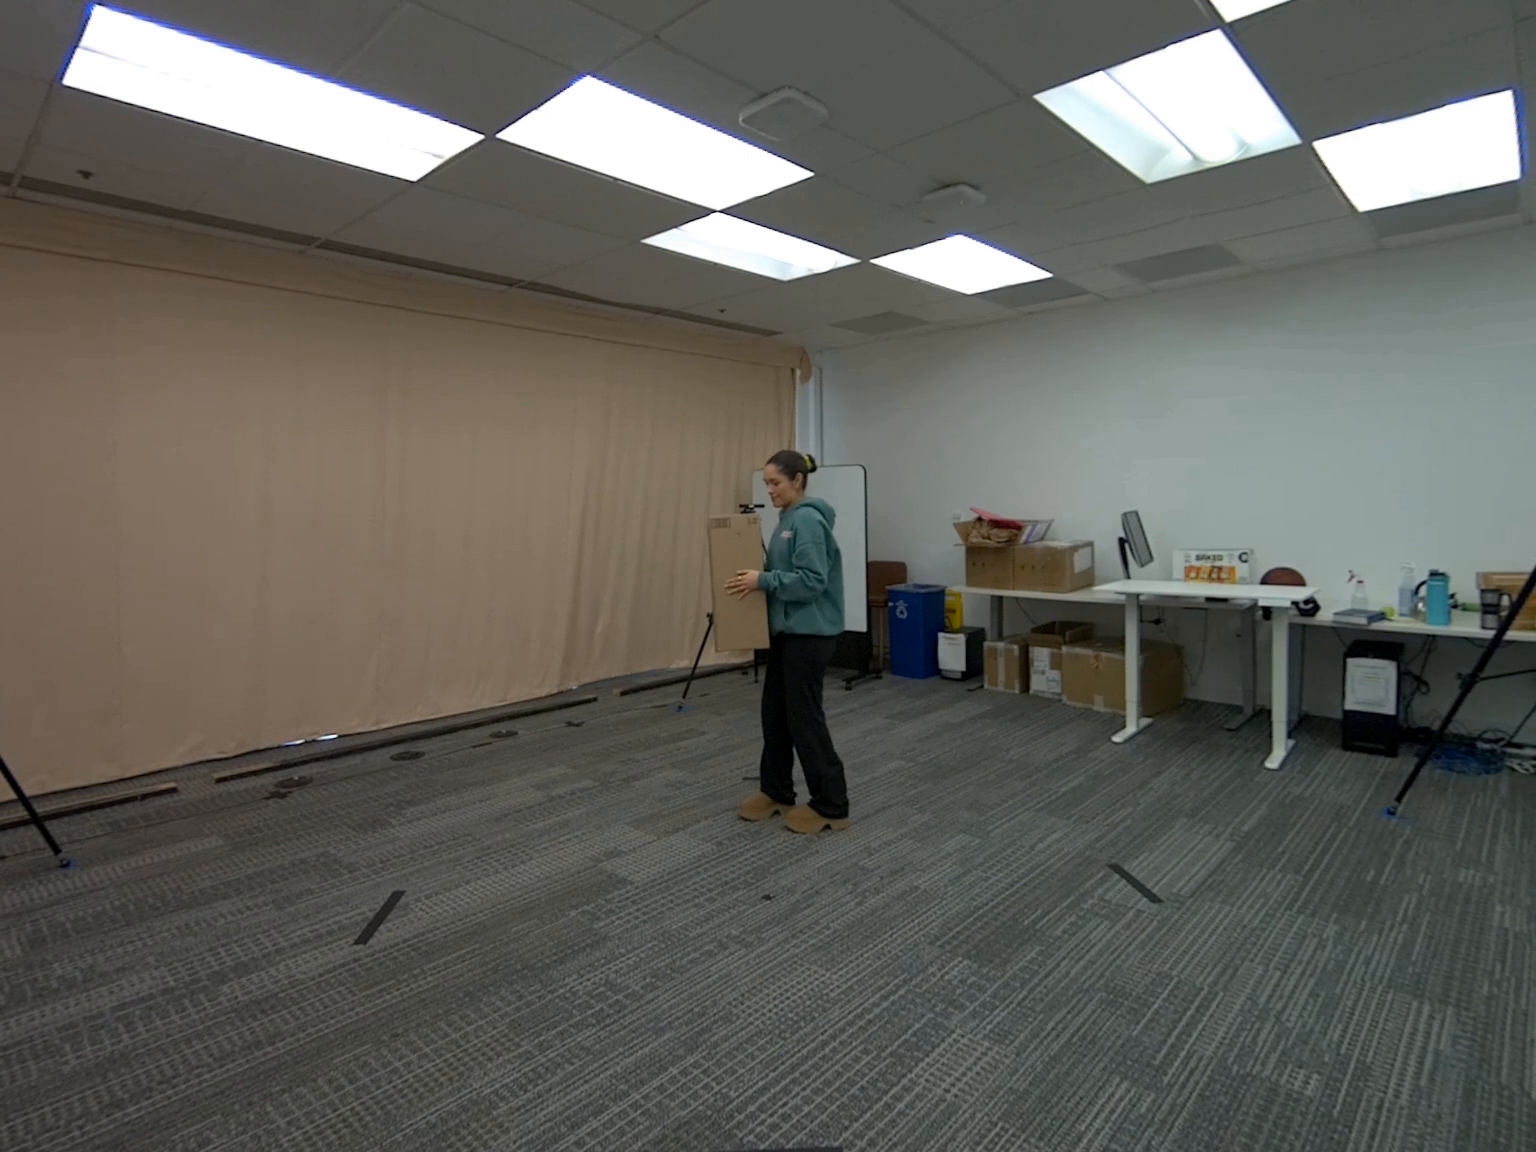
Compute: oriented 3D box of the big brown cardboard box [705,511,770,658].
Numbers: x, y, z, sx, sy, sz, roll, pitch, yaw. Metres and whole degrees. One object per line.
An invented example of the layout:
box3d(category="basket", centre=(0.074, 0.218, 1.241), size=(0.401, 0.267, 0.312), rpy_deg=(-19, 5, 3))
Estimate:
box3d(category="big brown cardboard box", centre=(-0.131, 0.045, 3.721), size=(0.232, 0.591, 0.418), rpy_deg=(-4, -5, -6))
